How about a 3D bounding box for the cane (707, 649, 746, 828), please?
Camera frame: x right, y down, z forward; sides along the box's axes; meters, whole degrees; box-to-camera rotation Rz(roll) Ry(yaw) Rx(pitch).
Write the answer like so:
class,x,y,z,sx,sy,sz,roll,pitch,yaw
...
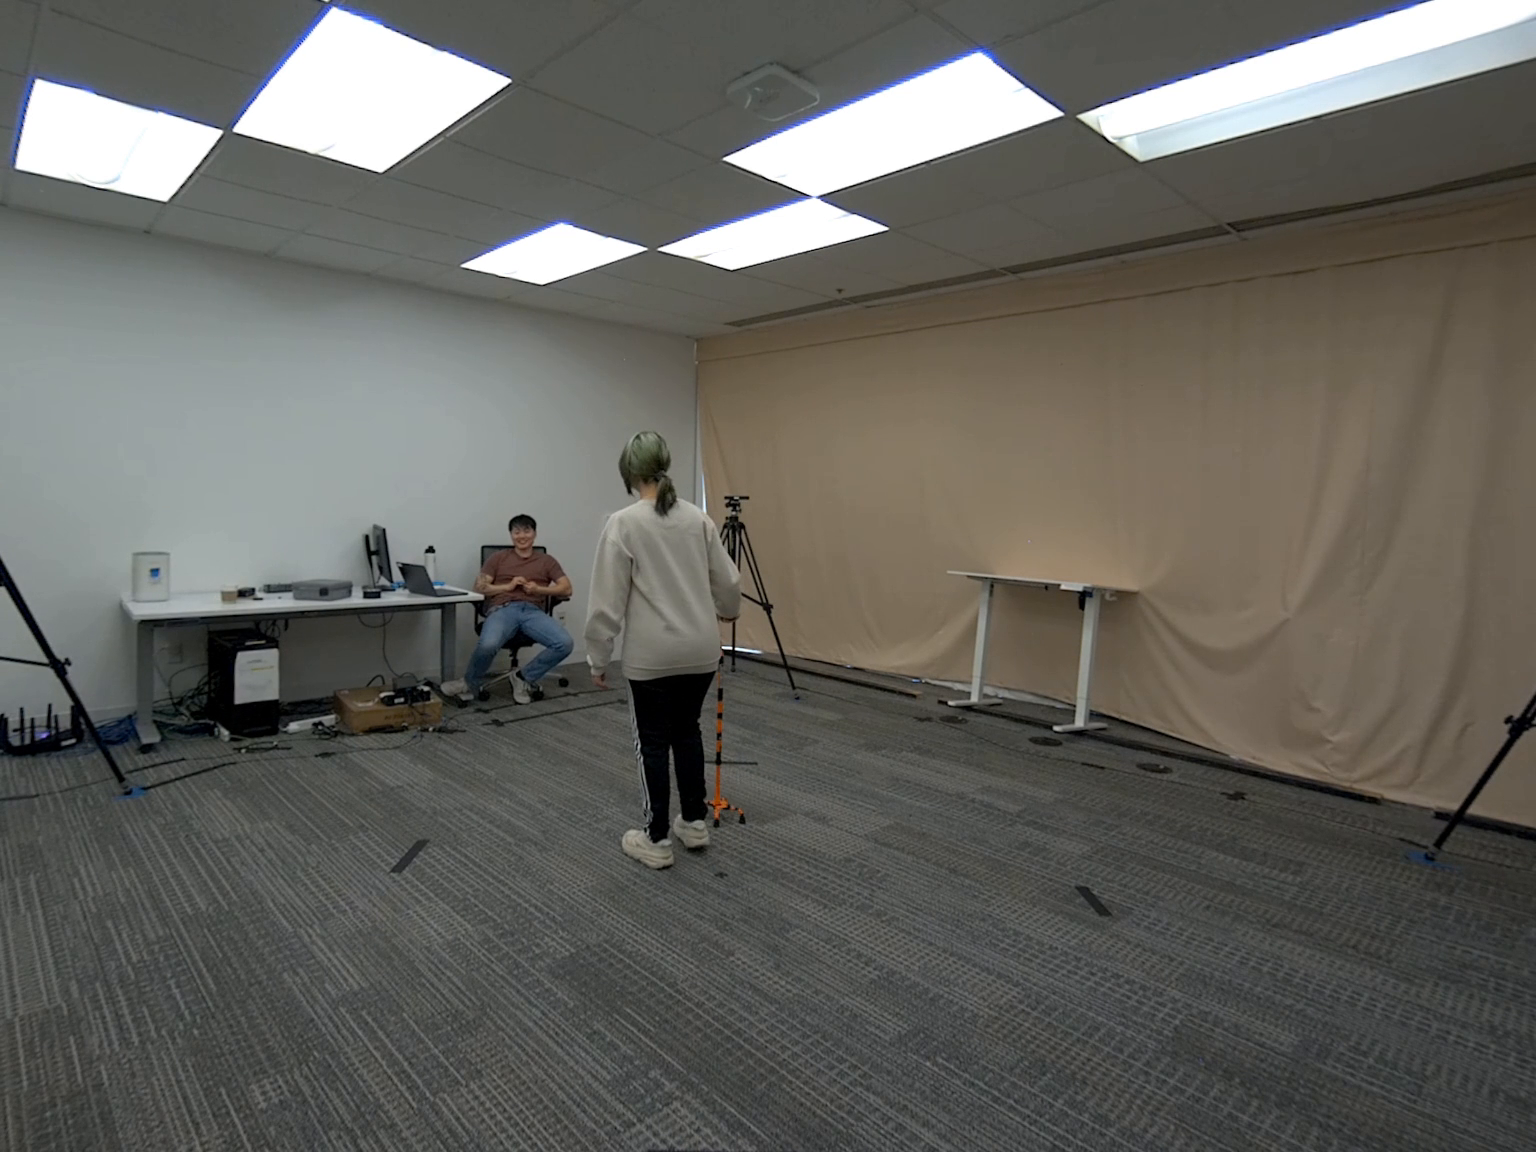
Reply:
class,x,y,z,sx,sy,sz,roll,pitch,yaw
cane,-0.201,0.601,3.650,0.149,0.906,0.211,0,2,-28
